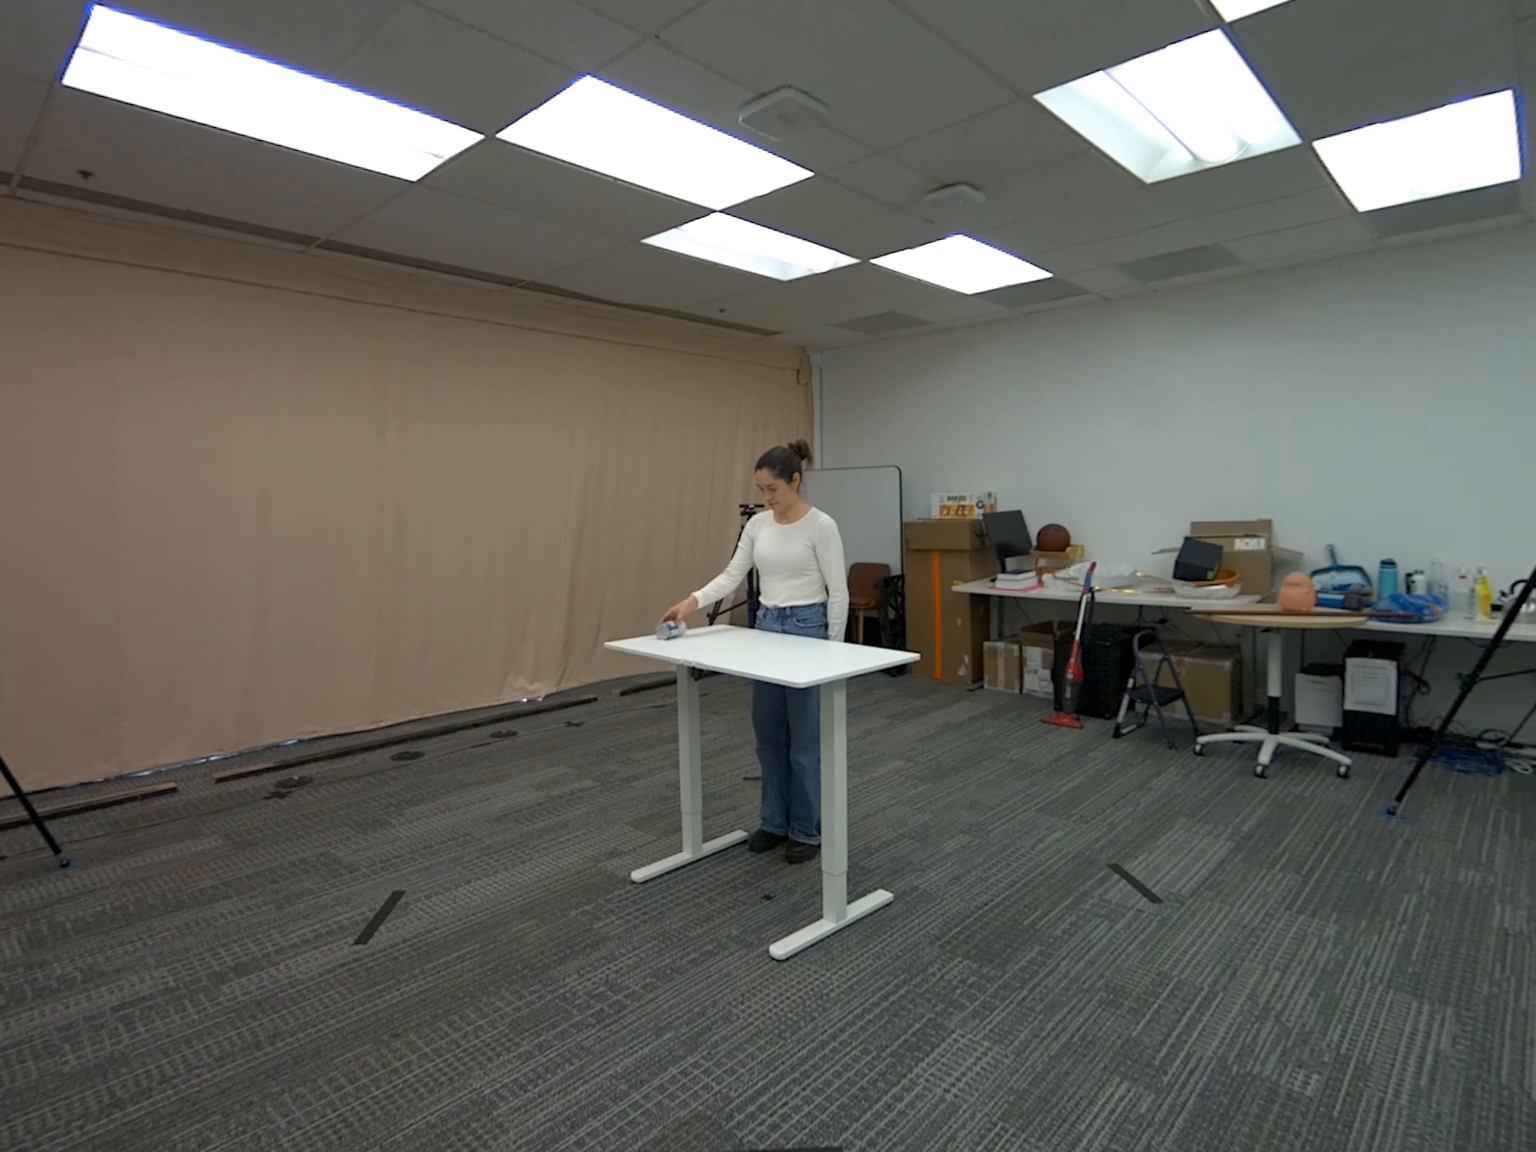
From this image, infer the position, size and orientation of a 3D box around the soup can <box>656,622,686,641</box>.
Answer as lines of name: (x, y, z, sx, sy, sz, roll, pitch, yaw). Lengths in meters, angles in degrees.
soup can: (-0.372, 0.208, 3.237, 0.119, 0.067, 0.068, -1, 4, -16)
